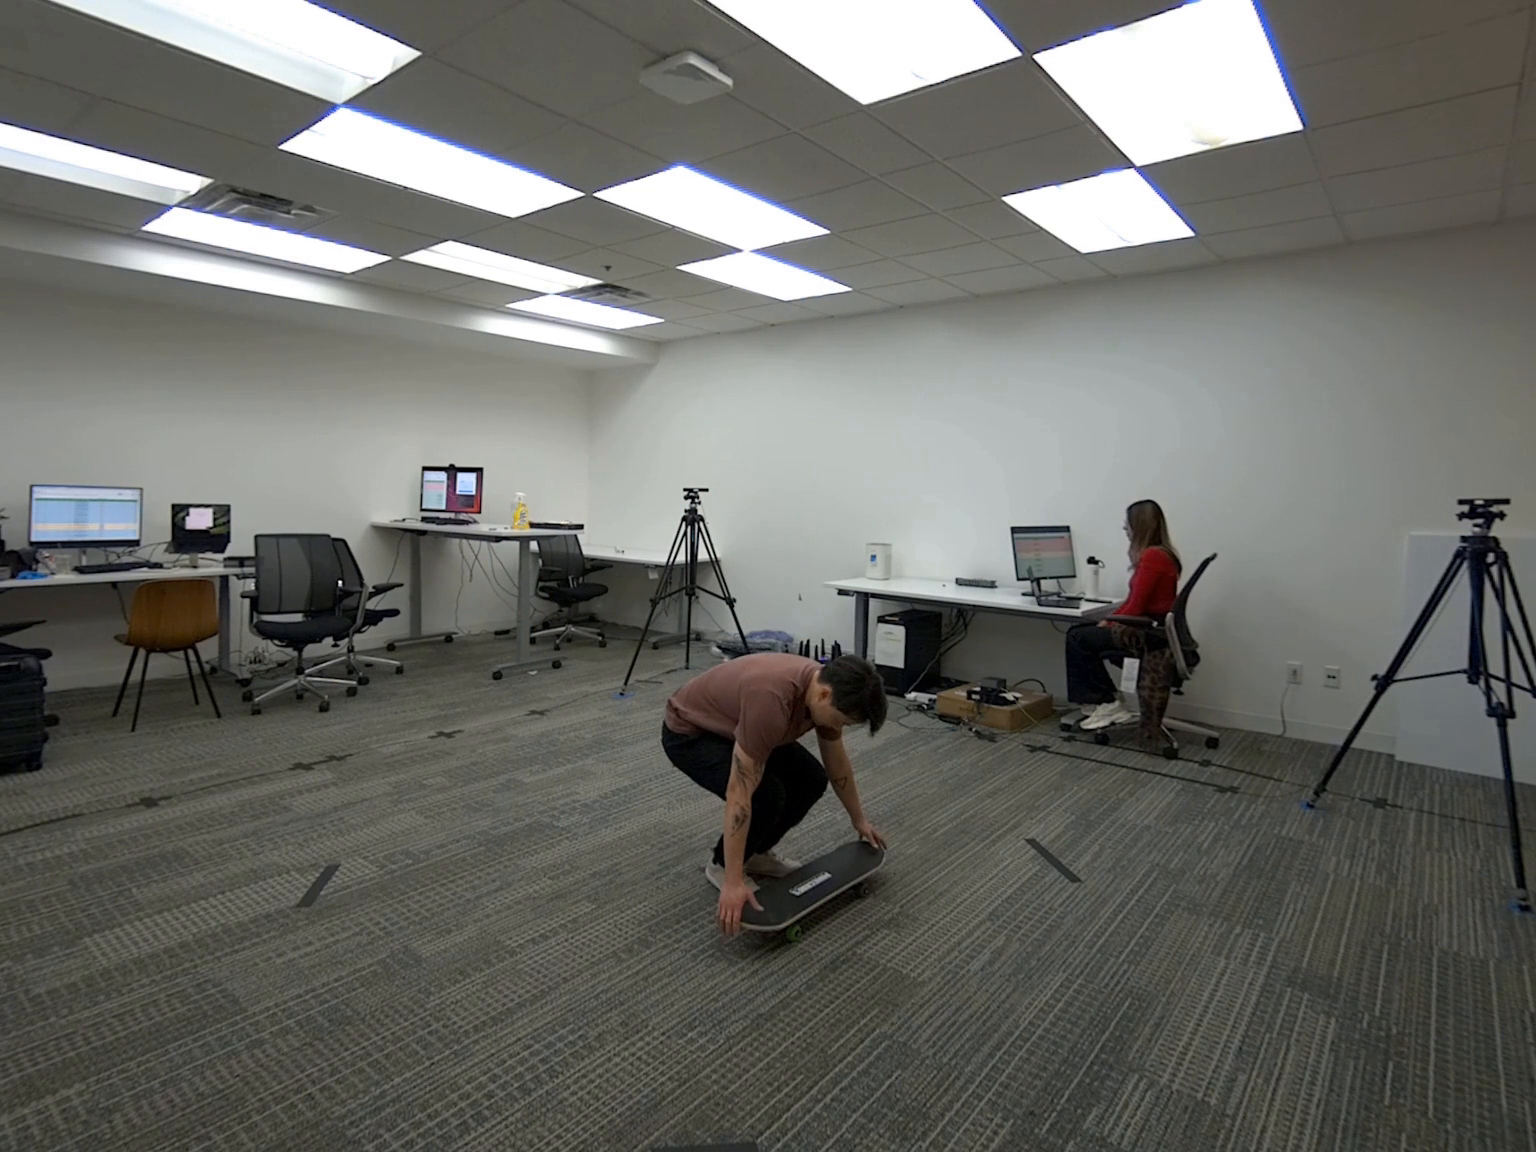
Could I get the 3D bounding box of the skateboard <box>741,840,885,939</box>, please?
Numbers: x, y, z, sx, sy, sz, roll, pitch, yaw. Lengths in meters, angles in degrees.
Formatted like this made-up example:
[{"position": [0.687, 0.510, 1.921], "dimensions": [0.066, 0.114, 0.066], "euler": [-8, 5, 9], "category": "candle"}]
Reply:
[{"position": [0.149, 1.060, 2.812], "dimensions": [0.200, 0.110, 0.762], "euler": [7, 7, 40], "category": "skateboard"}]
